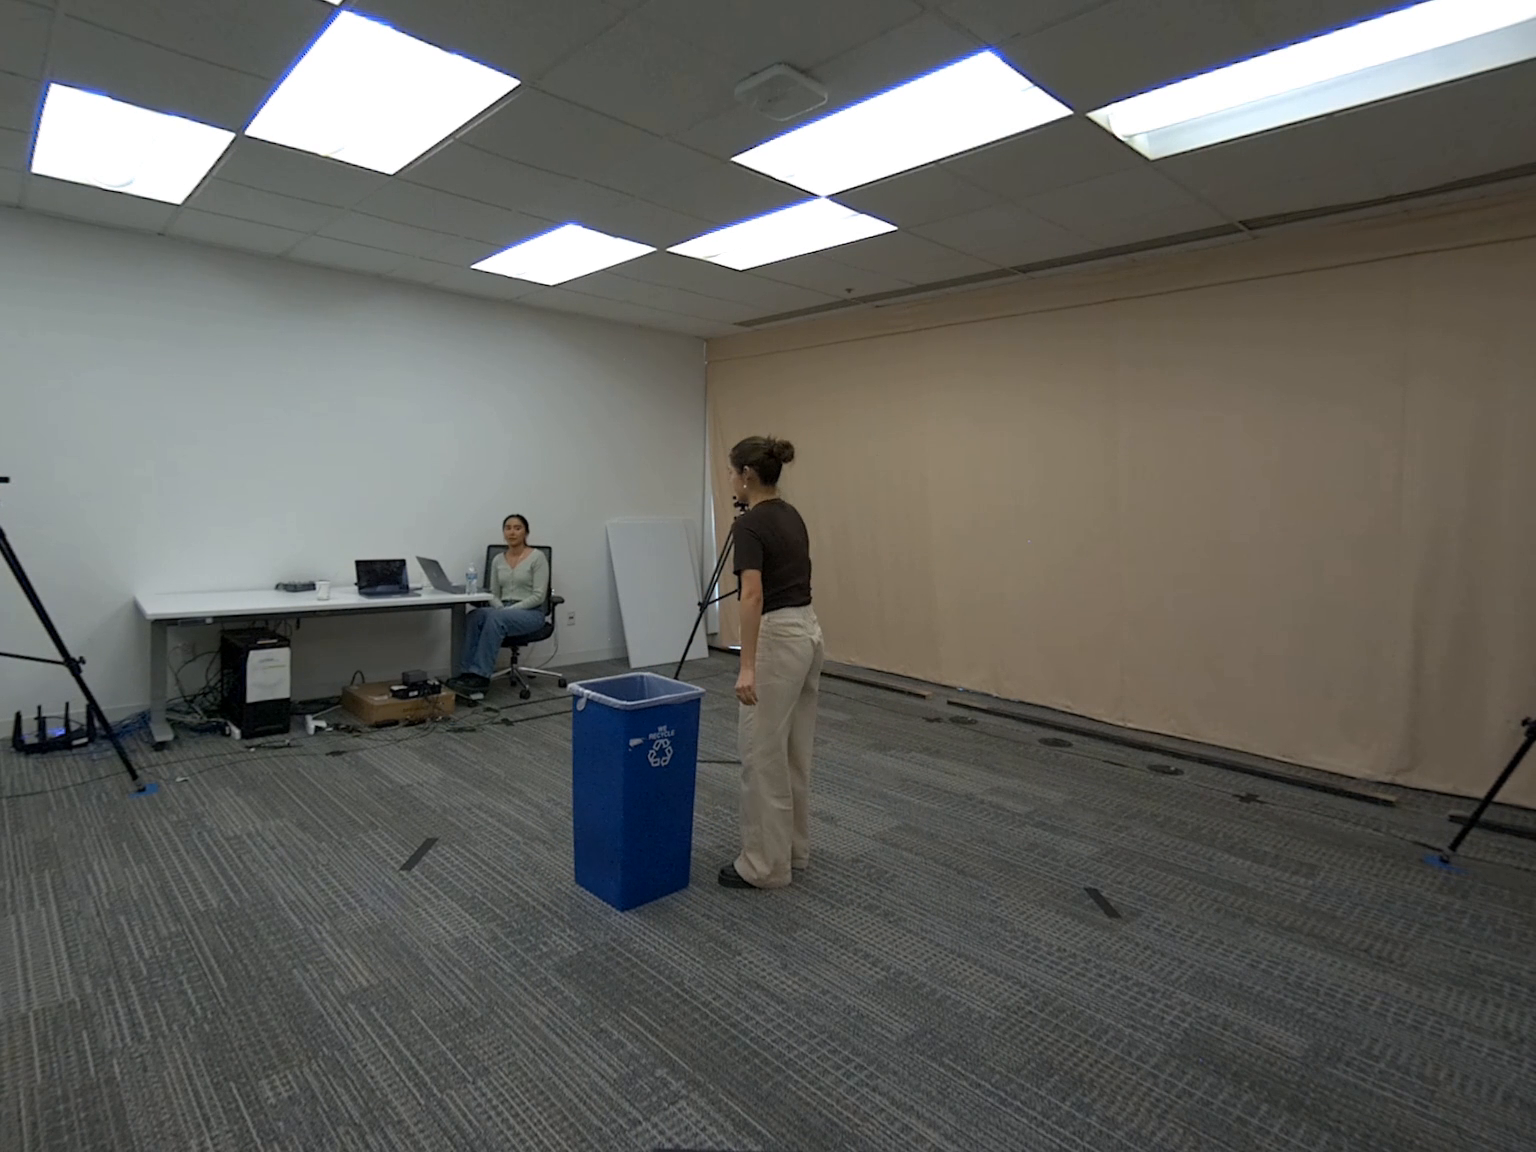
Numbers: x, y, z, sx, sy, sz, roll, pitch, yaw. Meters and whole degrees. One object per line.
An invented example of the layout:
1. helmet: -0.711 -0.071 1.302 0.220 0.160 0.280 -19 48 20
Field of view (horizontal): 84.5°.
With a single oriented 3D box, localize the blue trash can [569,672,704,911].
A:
1. blue trash can: -0.481 0.747 3.000 0.388 0.712 0.365 5 5 45
